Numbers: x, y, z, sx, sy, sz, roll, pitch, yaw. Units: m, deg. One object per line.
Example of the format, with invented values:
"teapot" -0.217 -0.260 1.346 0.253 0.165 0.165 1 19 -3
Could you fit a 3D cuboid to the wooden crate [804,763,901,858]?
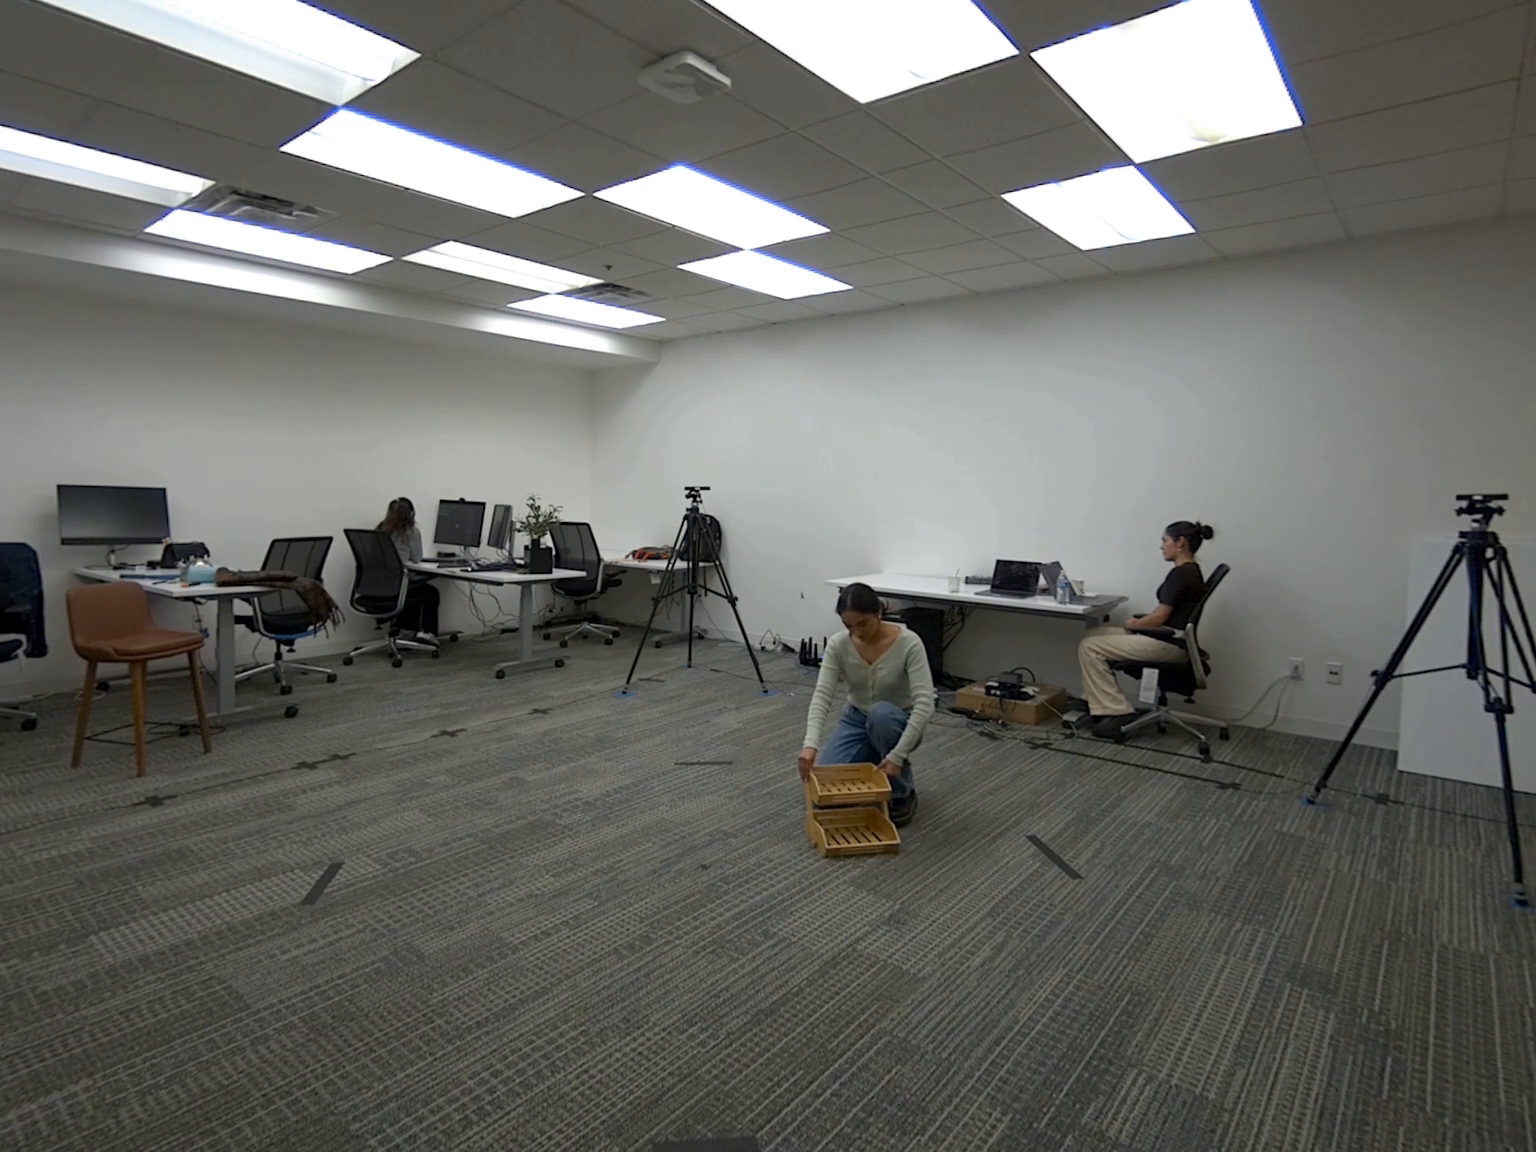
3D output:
"wooden crate" 0.321 0.918 3.361 0.320 0.272 0.308 0 5 -14
